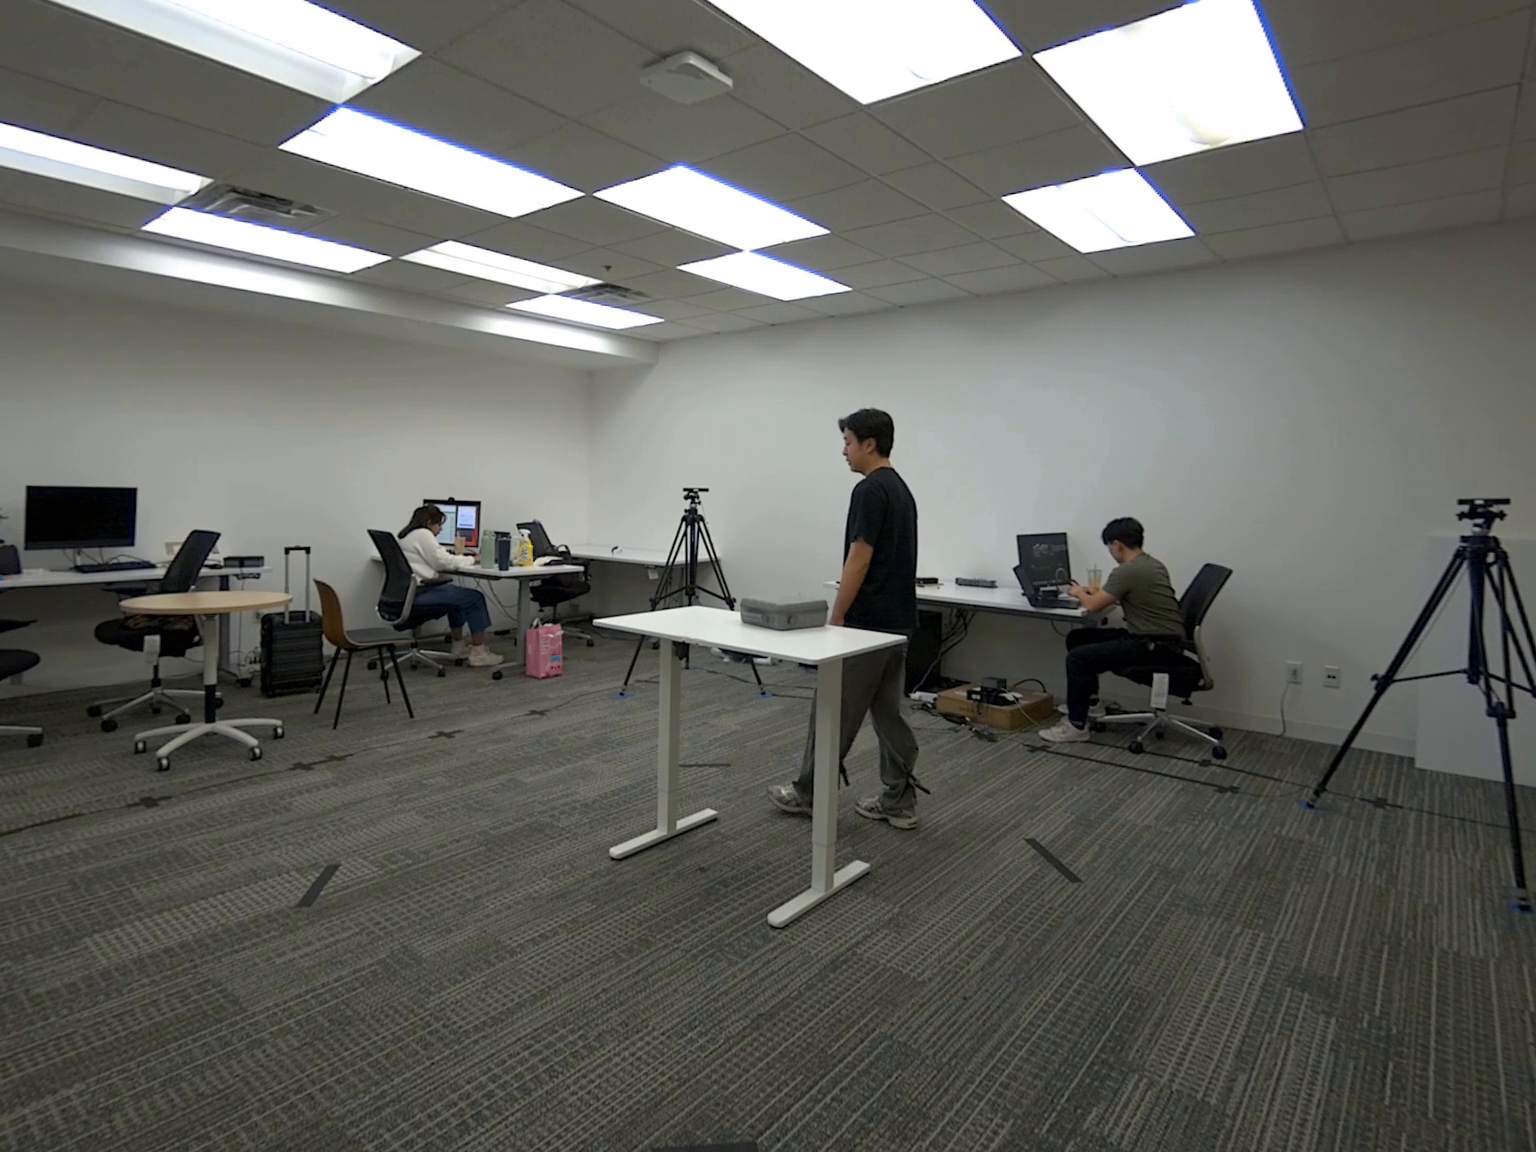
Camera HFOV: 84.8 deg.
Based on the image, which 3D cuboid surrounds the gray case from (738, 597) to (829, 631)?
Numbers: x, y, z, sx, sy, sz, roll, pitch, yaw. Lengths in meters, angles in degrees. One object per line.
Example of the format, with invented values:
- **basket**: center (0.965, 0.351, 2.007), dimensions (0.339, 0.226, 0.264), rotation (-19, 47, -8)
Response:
- **gray case**: center (0.050, 0.128, 3.223), dimensions (0.253, 0.104, 0.266), rotation (-4, 8, -38)
